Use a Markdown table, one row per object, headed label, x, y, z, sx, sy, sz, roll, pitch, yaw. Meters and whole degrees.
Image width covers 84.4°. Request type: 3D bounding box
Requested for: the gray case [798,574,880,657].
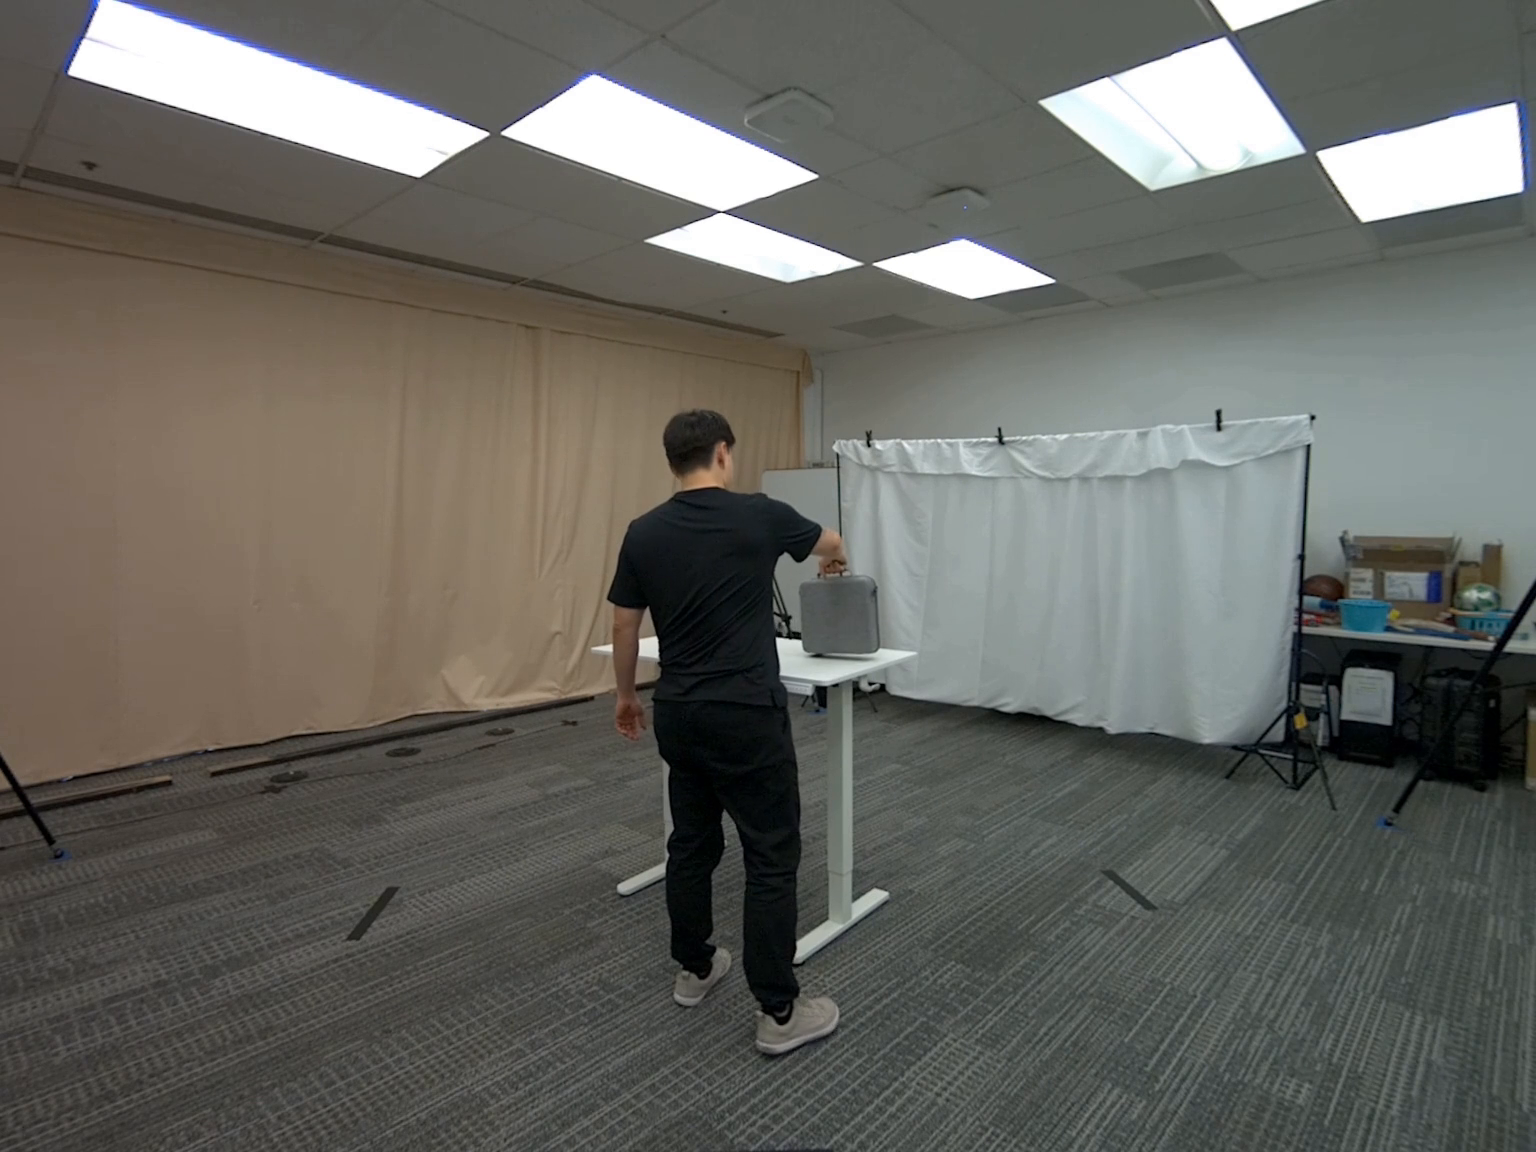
| label | x | y | z | sx | sy | sz | roll | pitch | yaw |
| --- | --- | --- | --- | --- | --- | --- | --- | --- | --- |
| gray case | 0.239 | 0.128 | 2.792 | 0.263 | 0.260 | 0.102 | -3 | 1 | 27 |
